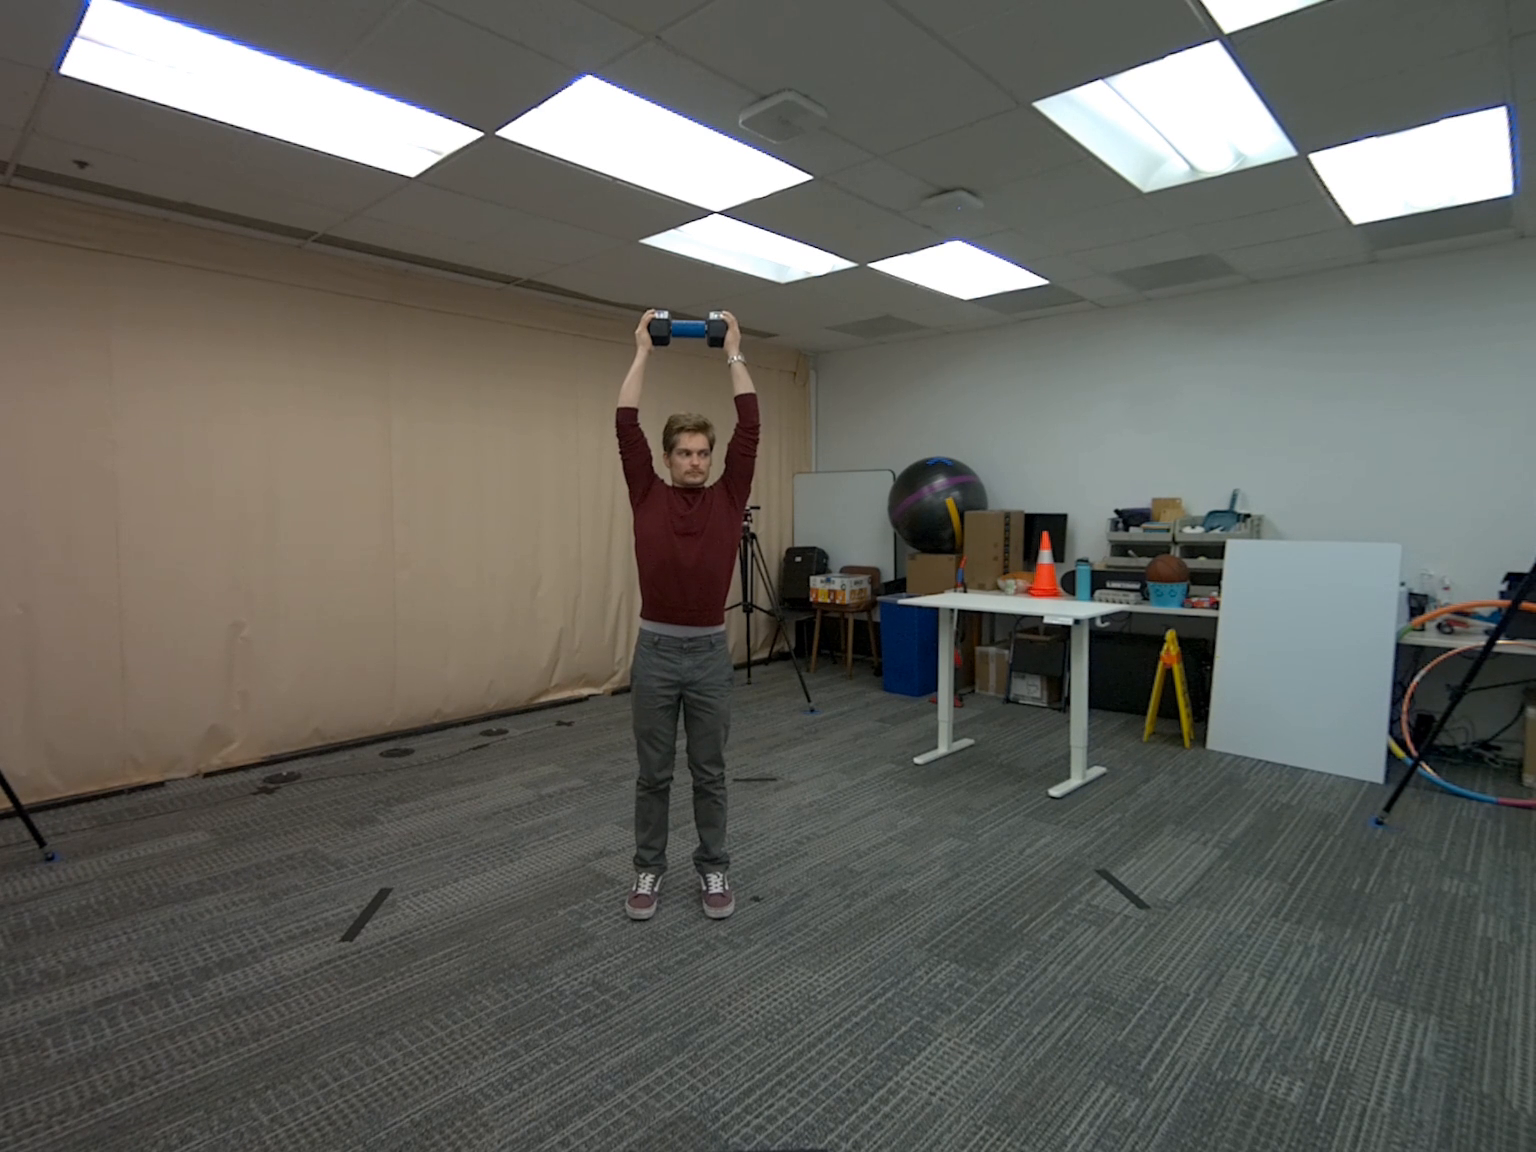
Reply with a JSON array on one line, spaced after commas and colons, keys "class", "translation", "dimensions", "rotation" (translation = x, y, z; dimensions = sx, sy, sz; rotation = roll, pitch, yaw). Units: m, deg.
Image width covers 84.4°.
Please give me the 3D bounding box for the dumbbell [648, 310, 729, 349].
[{"class": "dumbbell", "translation": [-0.280, -0.877, 3.027], "dimensions": [0.294, 0.107, 0.125], "rotation": [0, 38, 0]}]
